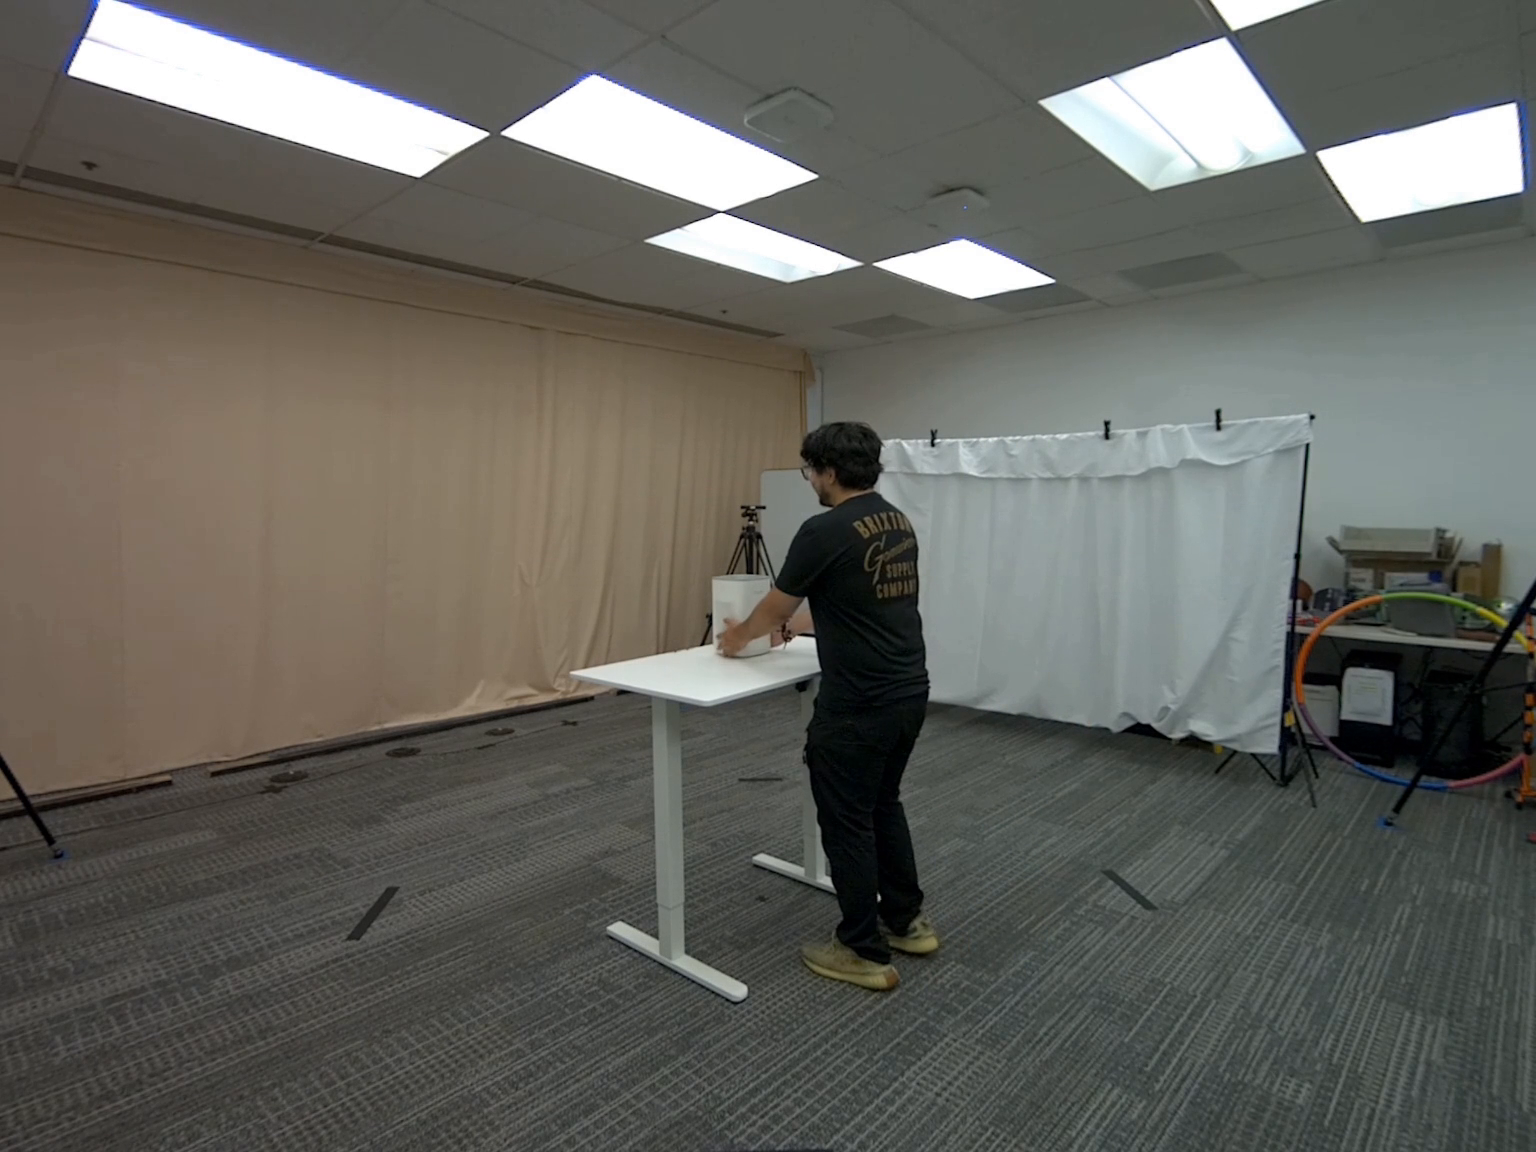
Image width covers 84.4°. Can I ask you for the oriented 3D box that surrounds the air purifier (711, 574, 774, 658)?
[{"bbox_3d":[-0.086,0.135,2.894,0.177,0.265,0.166,2,5,42],"label":"air purifier"}]
